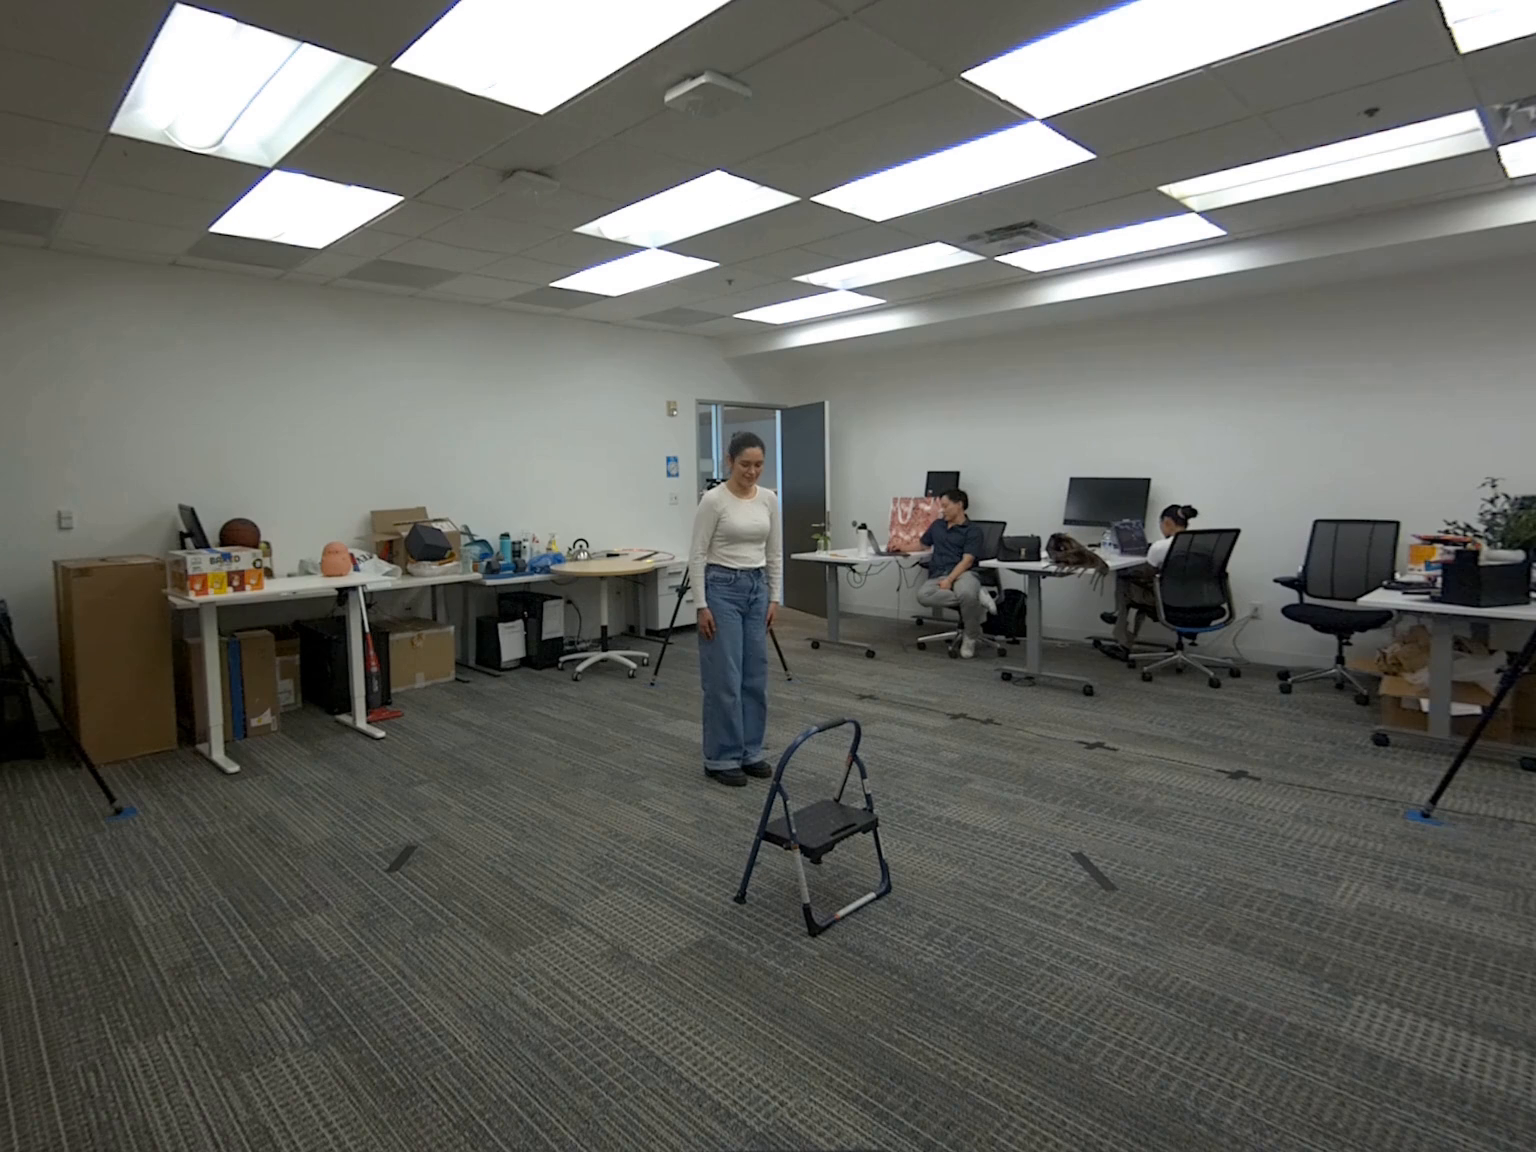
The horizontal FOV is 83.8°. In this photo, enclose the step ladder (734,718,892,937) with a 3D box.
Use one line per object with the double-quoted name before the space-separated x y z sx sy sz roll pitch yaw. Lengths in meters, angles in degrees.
"step ladder" 0.152 0.767 2.840 0.360 0.604 0.419 2 6 43
